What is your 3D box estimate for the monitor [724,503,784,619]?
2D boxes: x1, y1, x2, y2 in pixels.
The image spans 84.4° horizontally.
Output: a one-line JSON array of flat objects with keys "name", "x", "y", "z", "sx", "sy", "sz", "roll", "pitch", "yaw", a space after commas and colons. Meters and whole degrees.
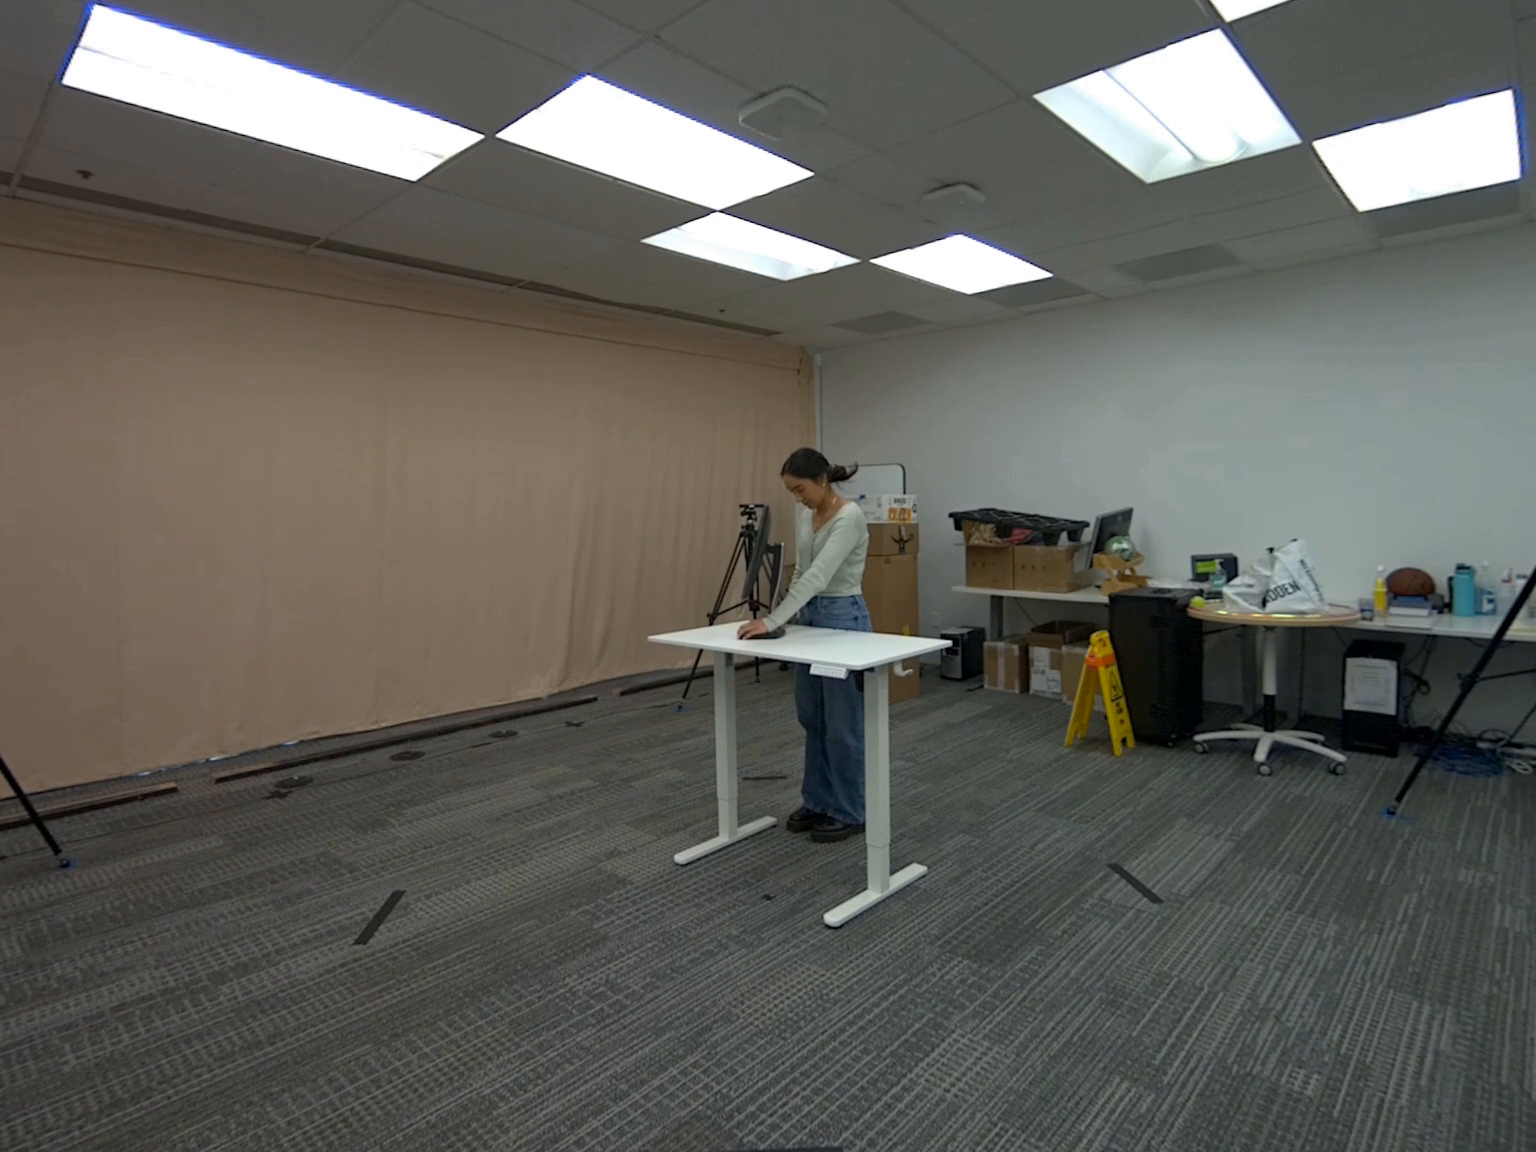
[{"name": "monitor", "x": -0.019, "y": -0.029, "z": 3.322, "sx": 0.175, "sy": 0.515, "sz": 0.530, "roll": -5, "pitch": 4, "yaw": 1}]
